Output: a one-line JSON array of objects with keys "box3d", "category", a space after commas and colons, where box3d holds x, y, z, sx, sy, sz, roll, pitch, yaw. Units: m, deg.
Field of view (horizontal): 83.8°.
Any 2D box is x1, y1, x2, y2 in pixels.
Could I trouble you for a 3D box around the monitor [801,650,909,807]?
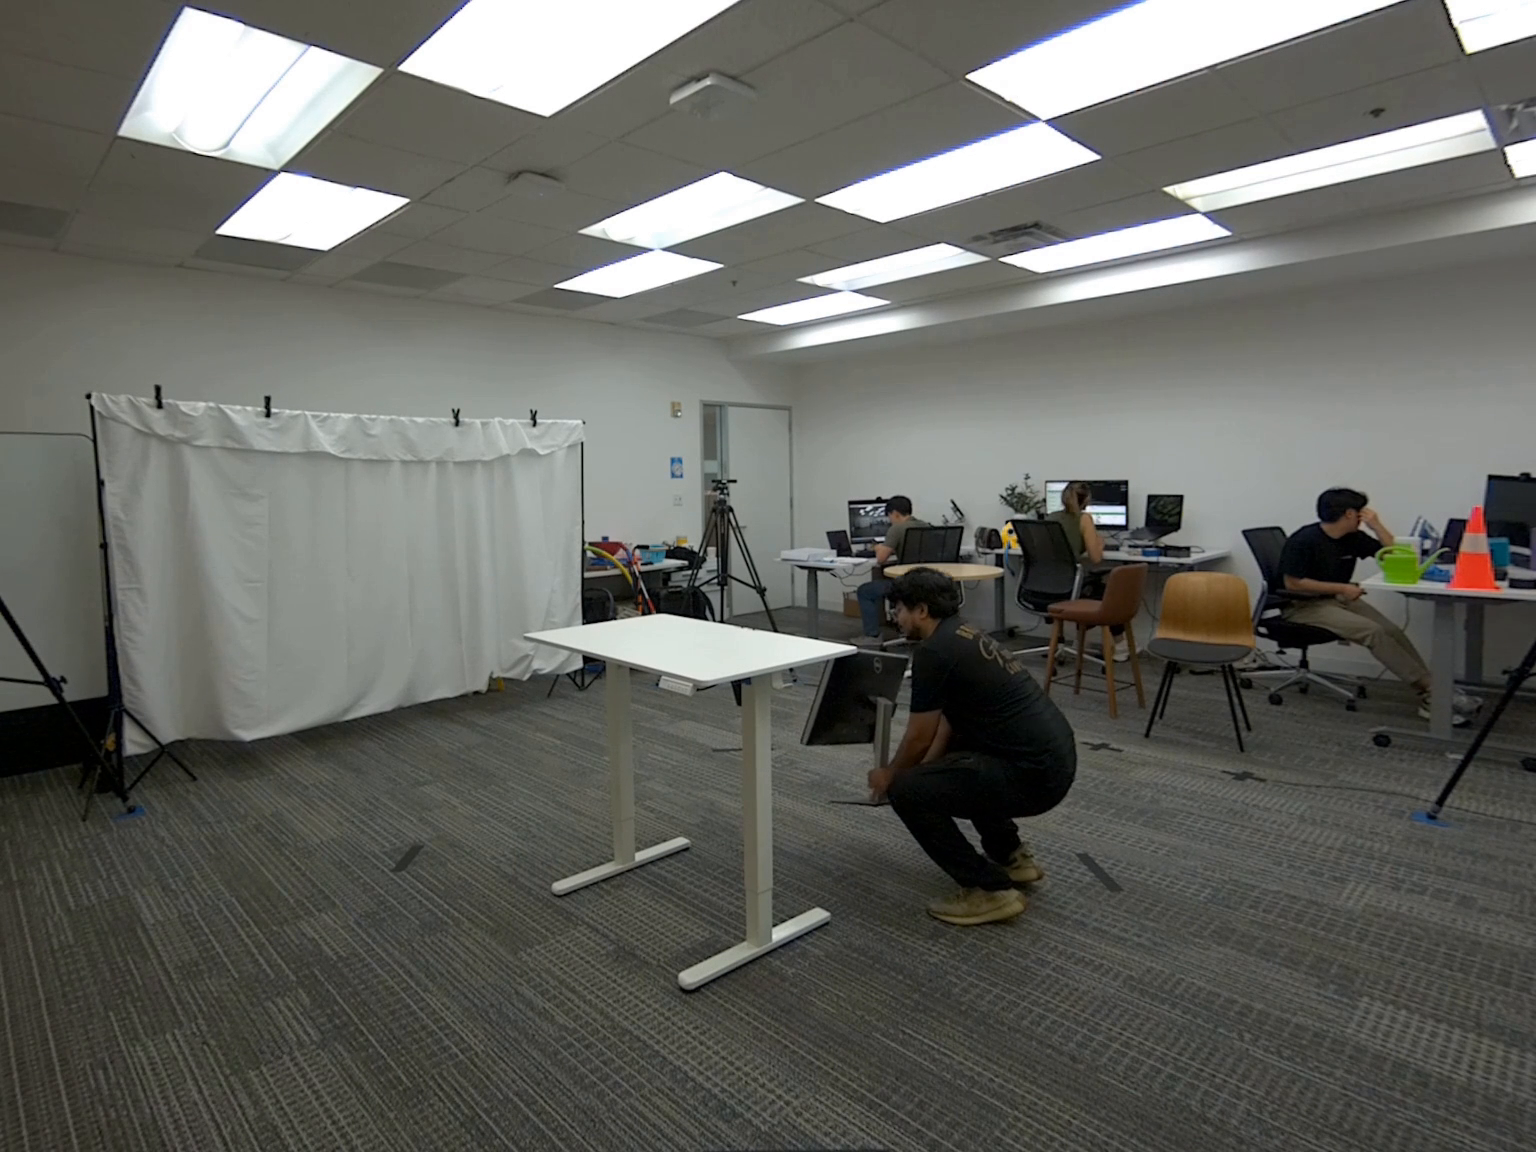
[{"box3d": [0.387, 0.551, 3.139, 0.217, 0.555, 0.546, 8, -4, 39], "category": "monitor"}]
